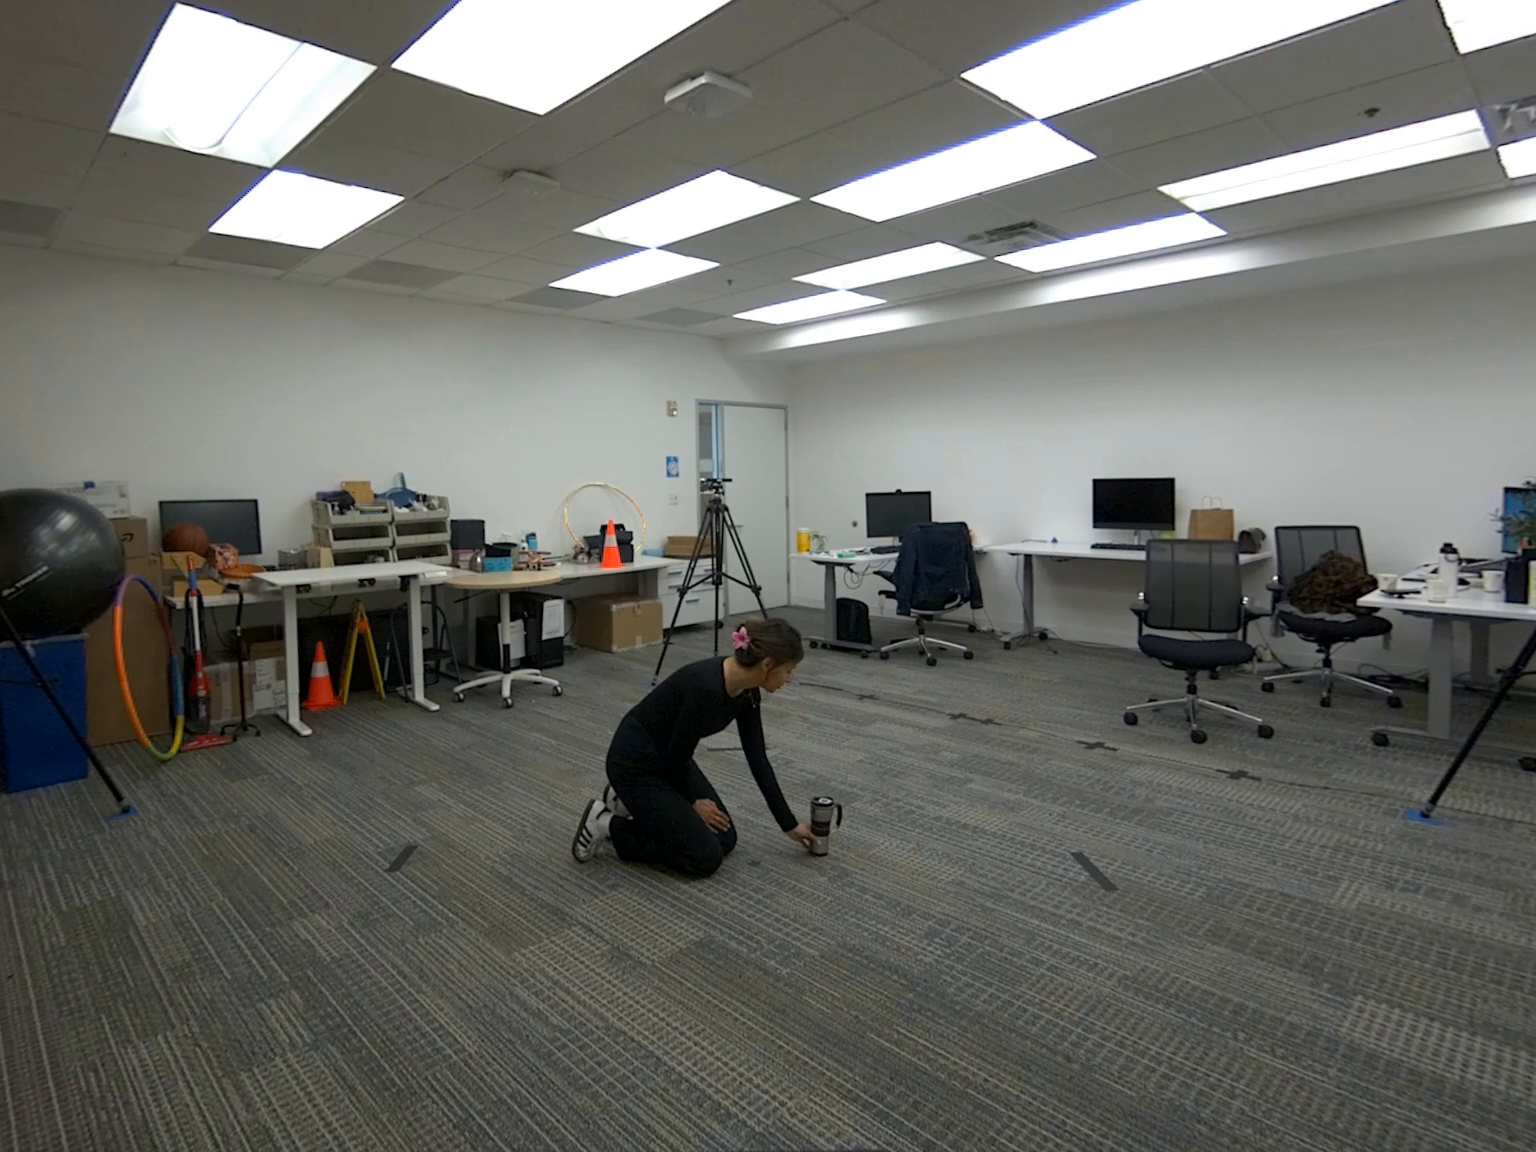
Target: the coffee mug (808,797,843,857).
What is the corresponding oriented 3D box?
[{"bbox_3d":[0.216,0.927,3.173,0.122,0.203,0.087,2,2,4],"label":"coffee mug"}]
